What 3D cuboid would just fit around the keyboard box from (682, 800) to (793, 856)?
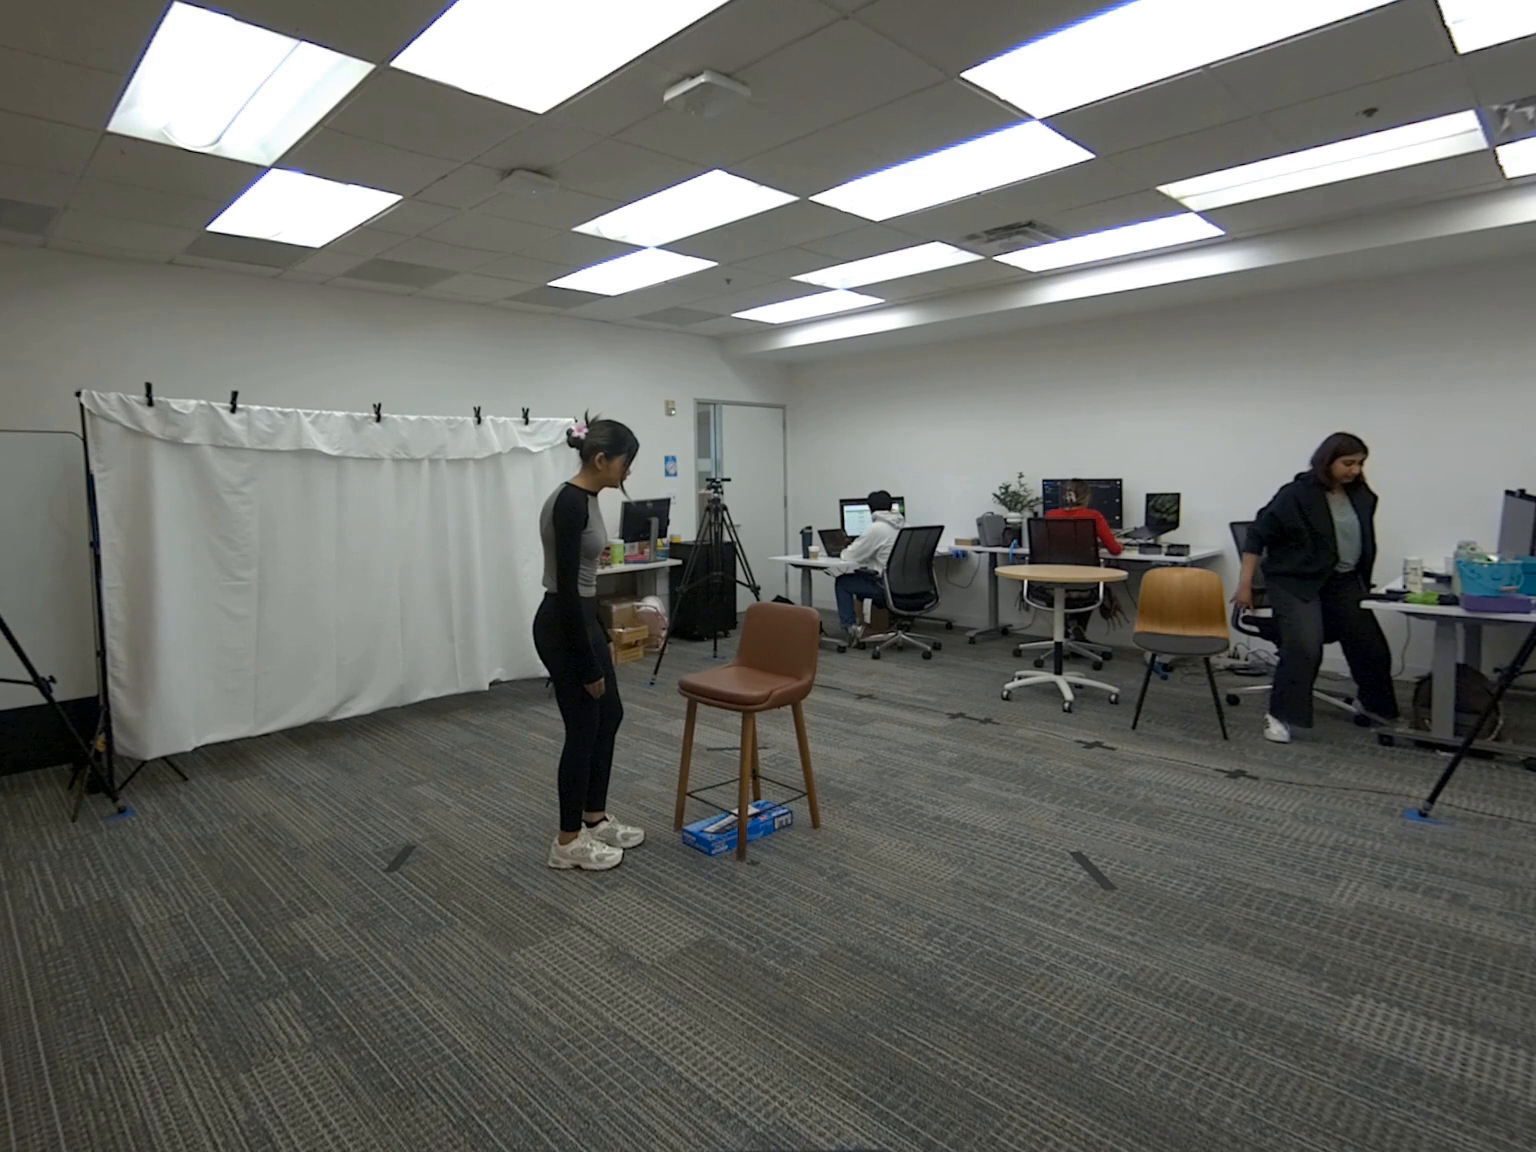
[{"bbox_3d":[-0.115,0.987,3.368,0.425,0.059,0.181,-7,8,-43],"label":"keyboard box"}]
